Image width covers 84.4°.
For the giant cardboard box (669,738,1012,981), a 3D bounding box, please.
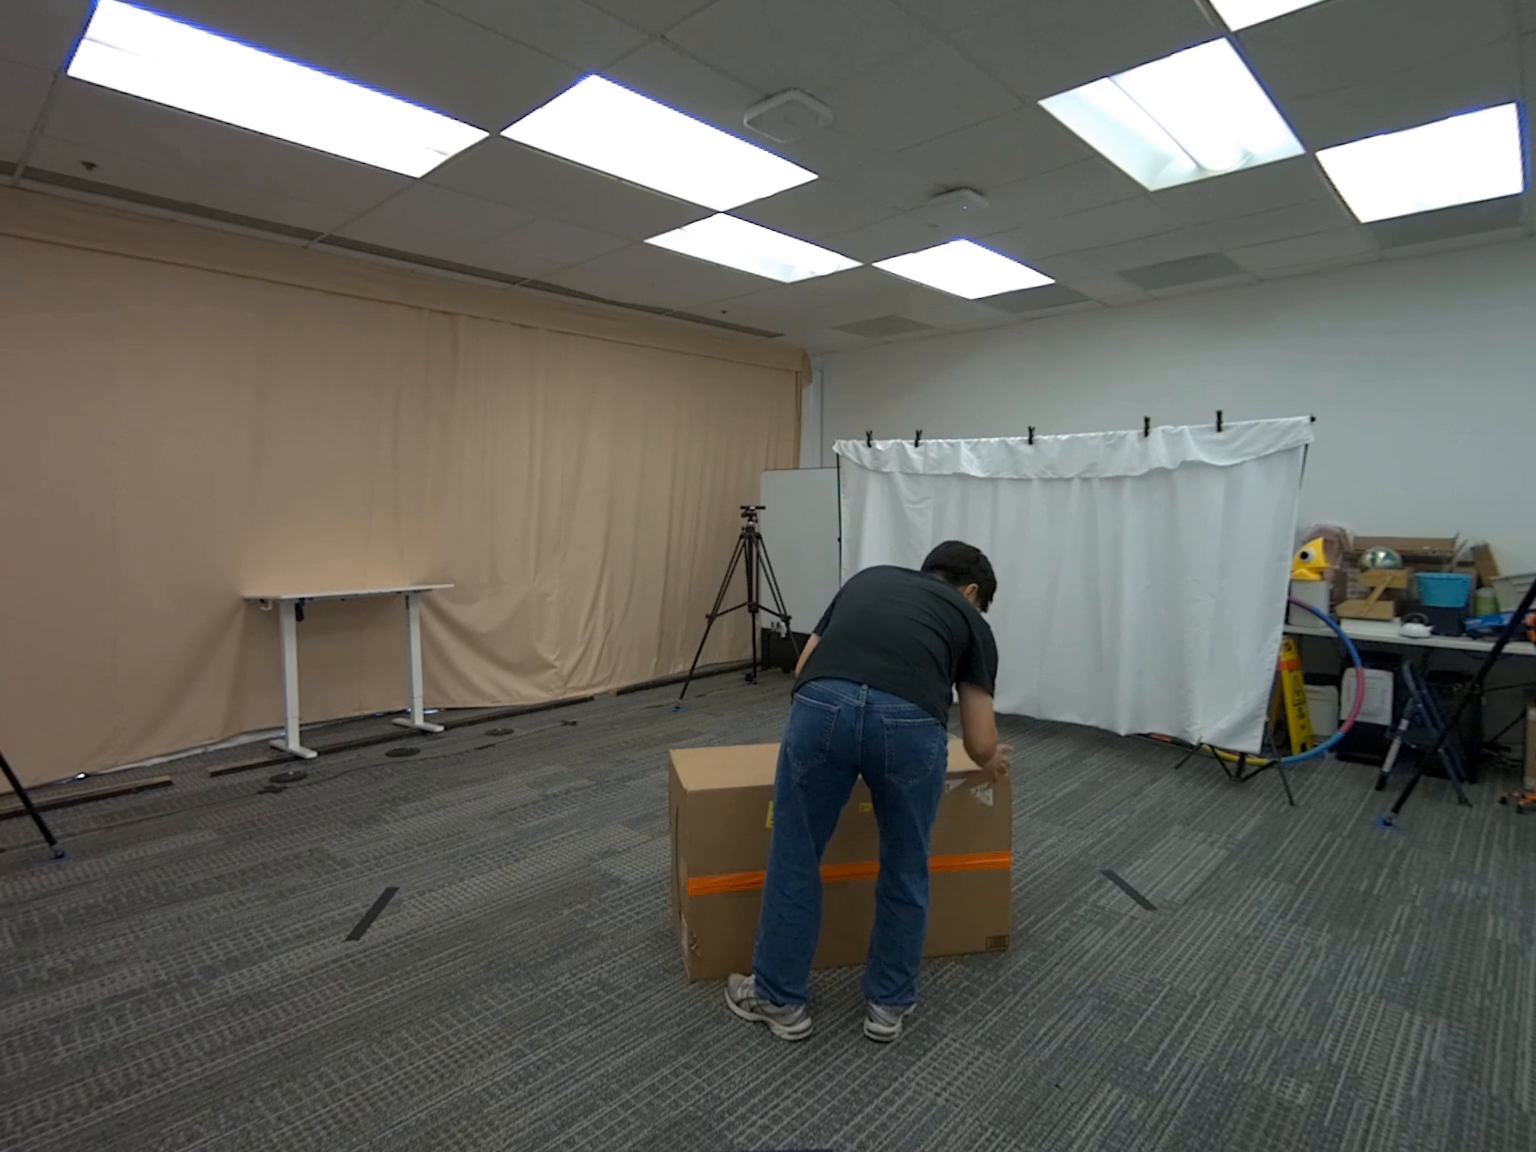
[{"bbox_3d":[0.214,0.876,2.735,1.015,0.582,0.453,-2,5,-11],"label":"giant cardboard box"}]
